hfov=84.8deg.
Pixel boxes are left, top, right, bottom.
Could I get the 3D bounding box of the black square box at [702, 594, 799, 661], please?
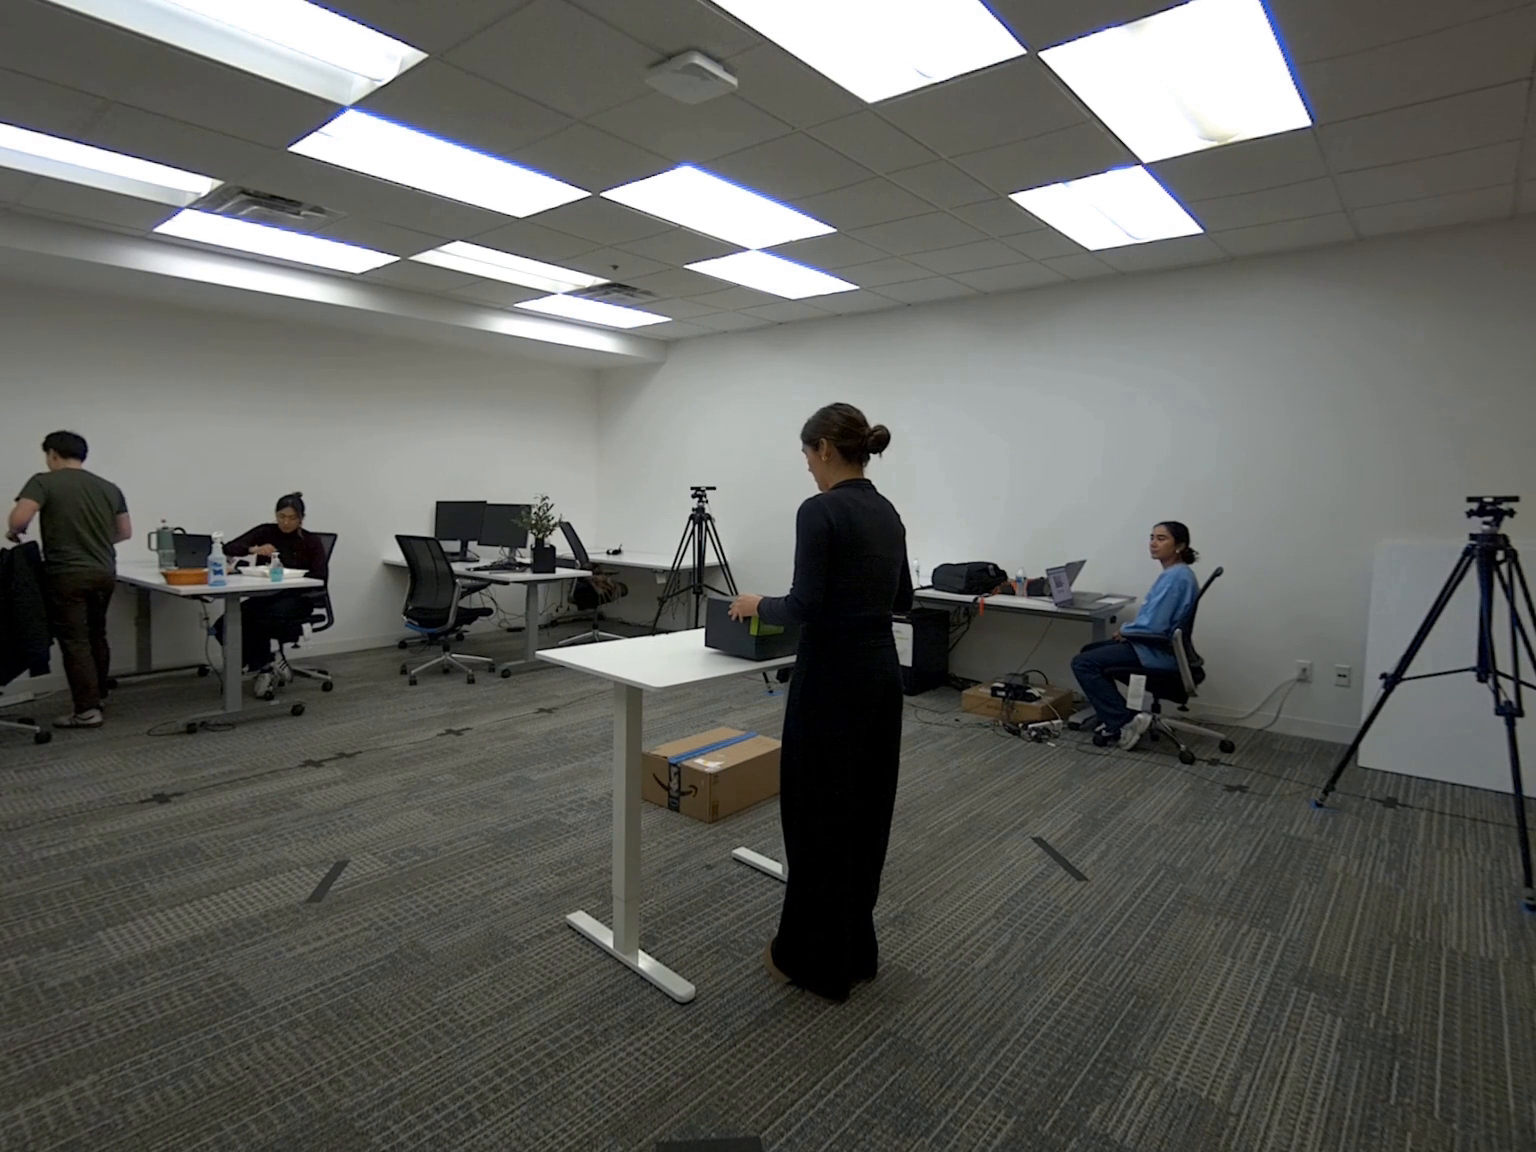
[{"bbox_3d":[-0.042,0.152,2.611,0.225,0.155,0.221,8,7,42],"label":"black square box"}]
